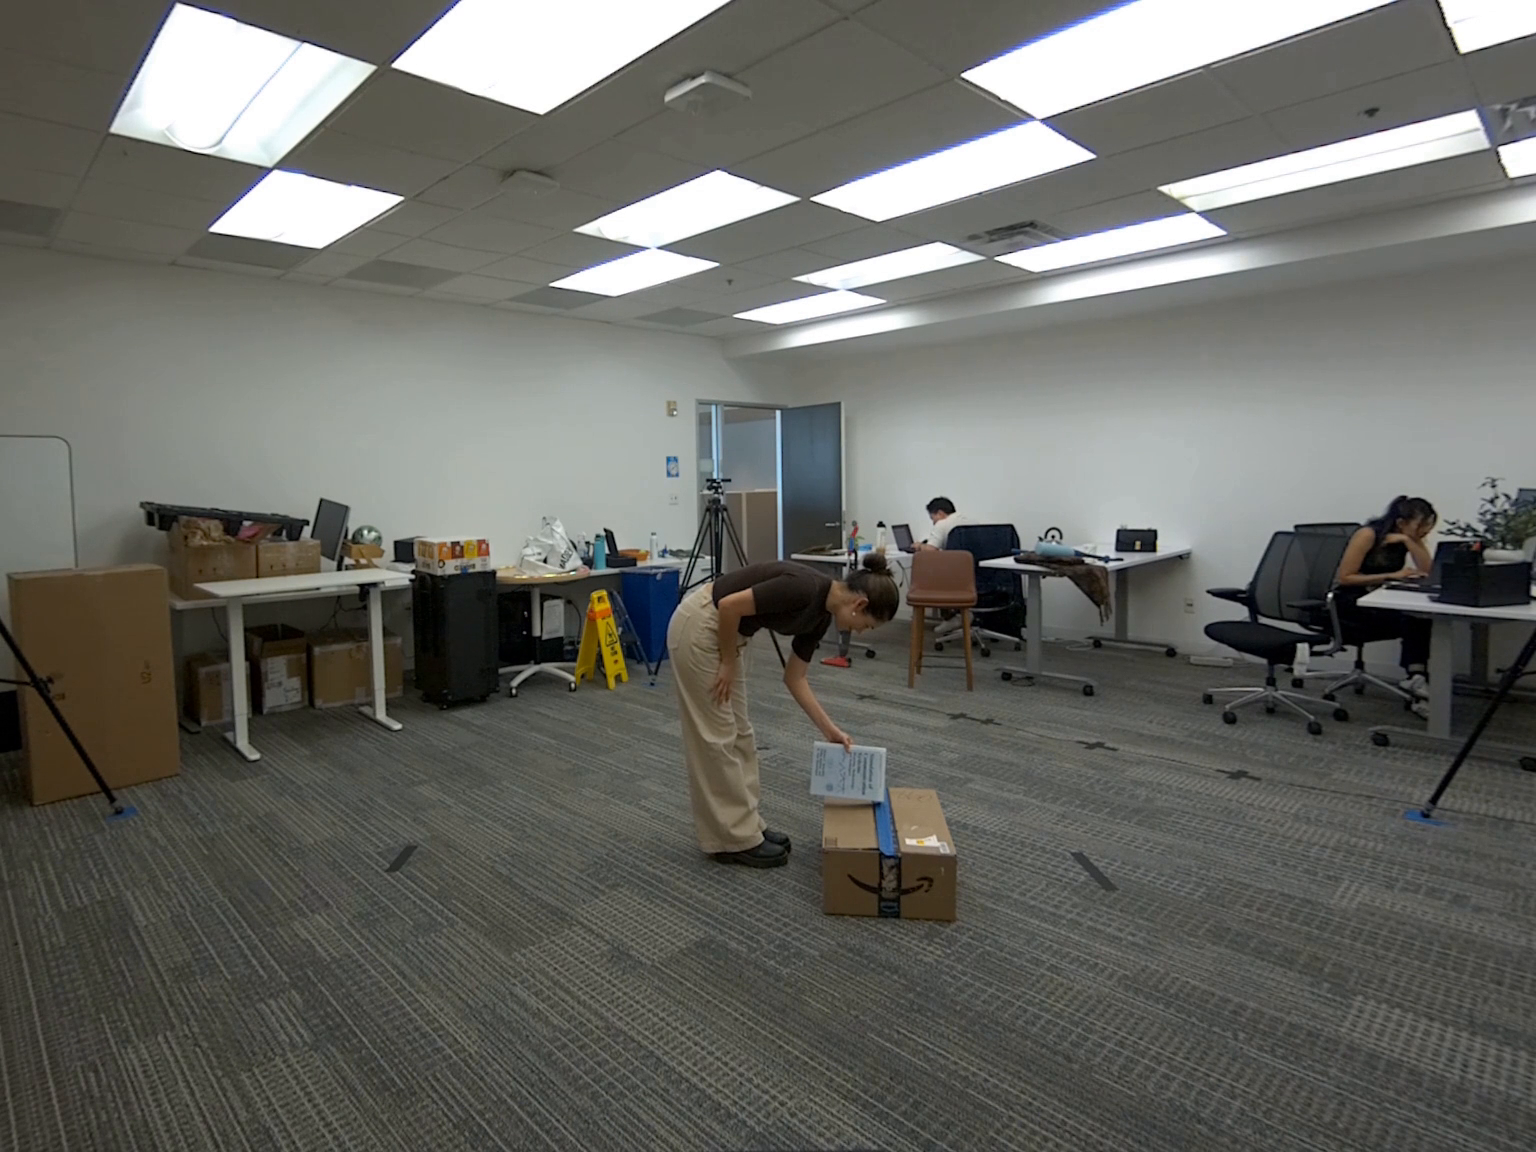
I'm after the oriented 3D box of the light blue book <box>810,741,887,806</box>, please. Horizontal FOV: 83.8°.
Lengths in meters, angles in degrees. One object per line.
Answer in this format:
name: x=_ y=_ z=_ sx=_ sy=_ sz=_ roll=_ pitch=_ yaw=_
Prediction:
light blue book: x=0.283 y=0.709 z=3.104 sx=0.264 sy=0.194 sz=0.057 roll=5 pitch=-20 yaw=10
